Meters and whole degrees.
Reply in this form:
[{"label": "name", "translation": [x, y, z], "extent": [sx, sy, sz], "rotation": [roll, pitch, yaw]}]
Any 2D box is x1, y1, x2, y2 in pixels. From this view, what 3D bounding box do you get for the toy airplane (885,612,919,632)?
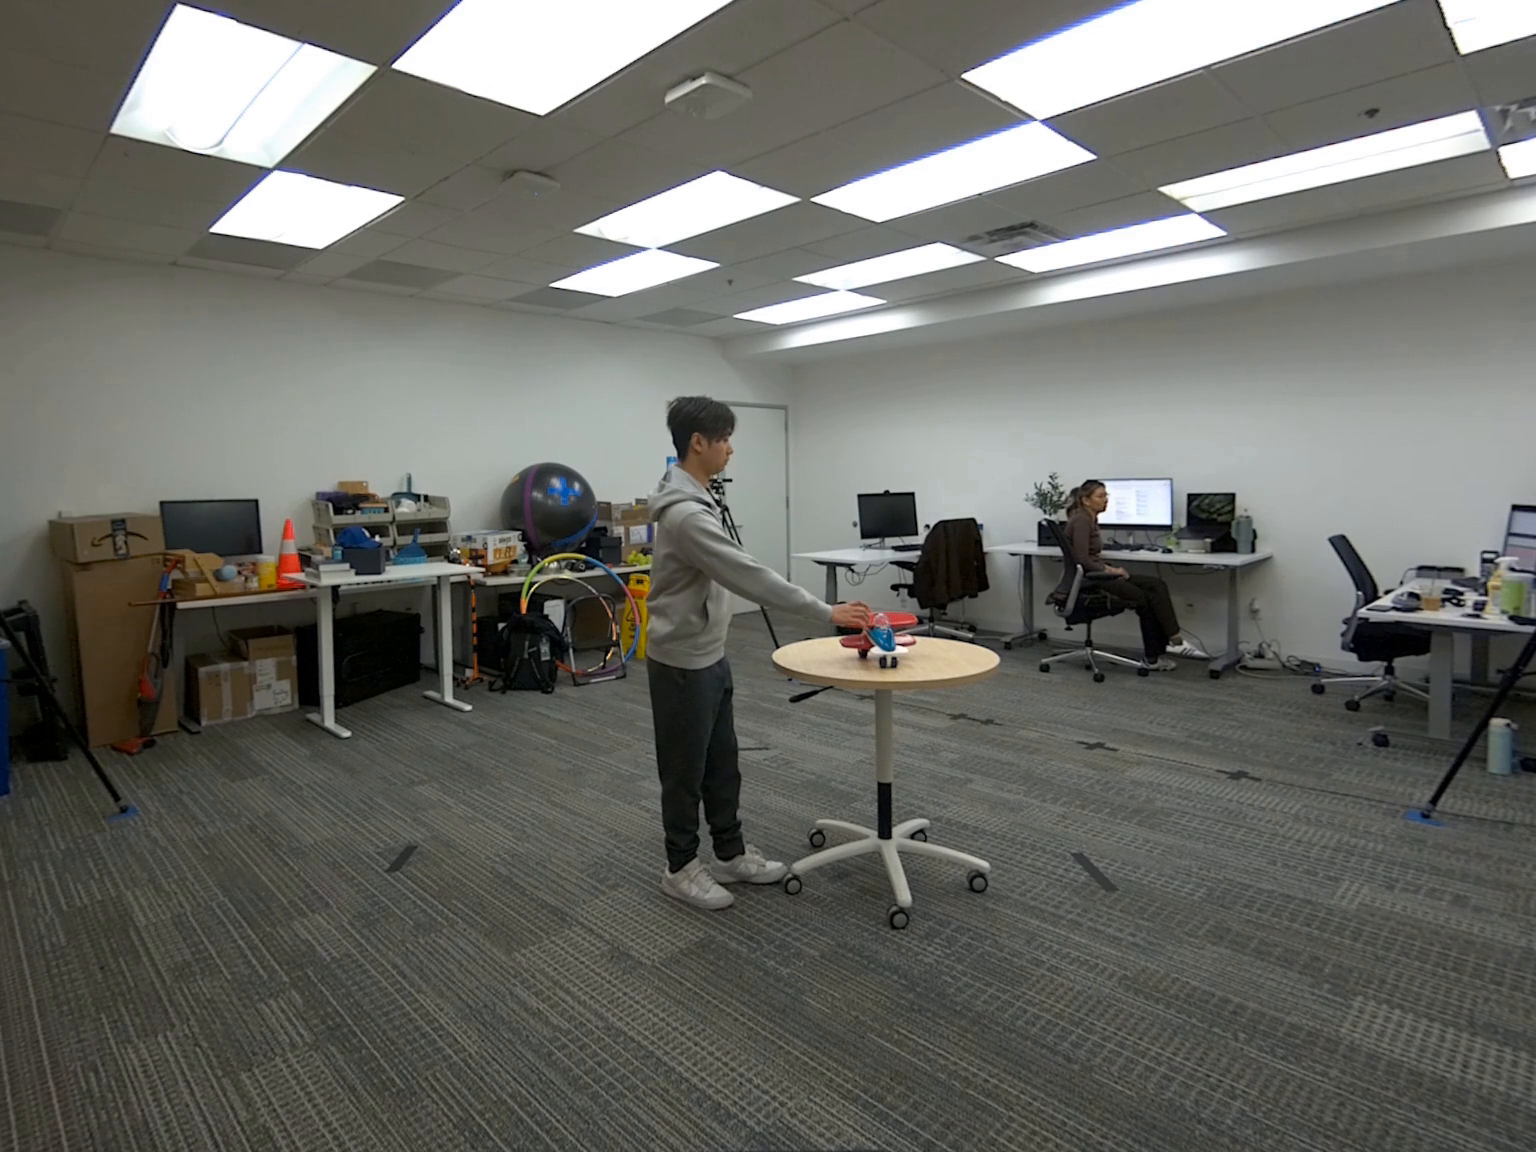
[{"label": "toy airplane", "translation": [0.398, 0.211, 2.825], "extent": [0.245, 0.156, 0.267], "rotation": [-5, 7, -31]}]
